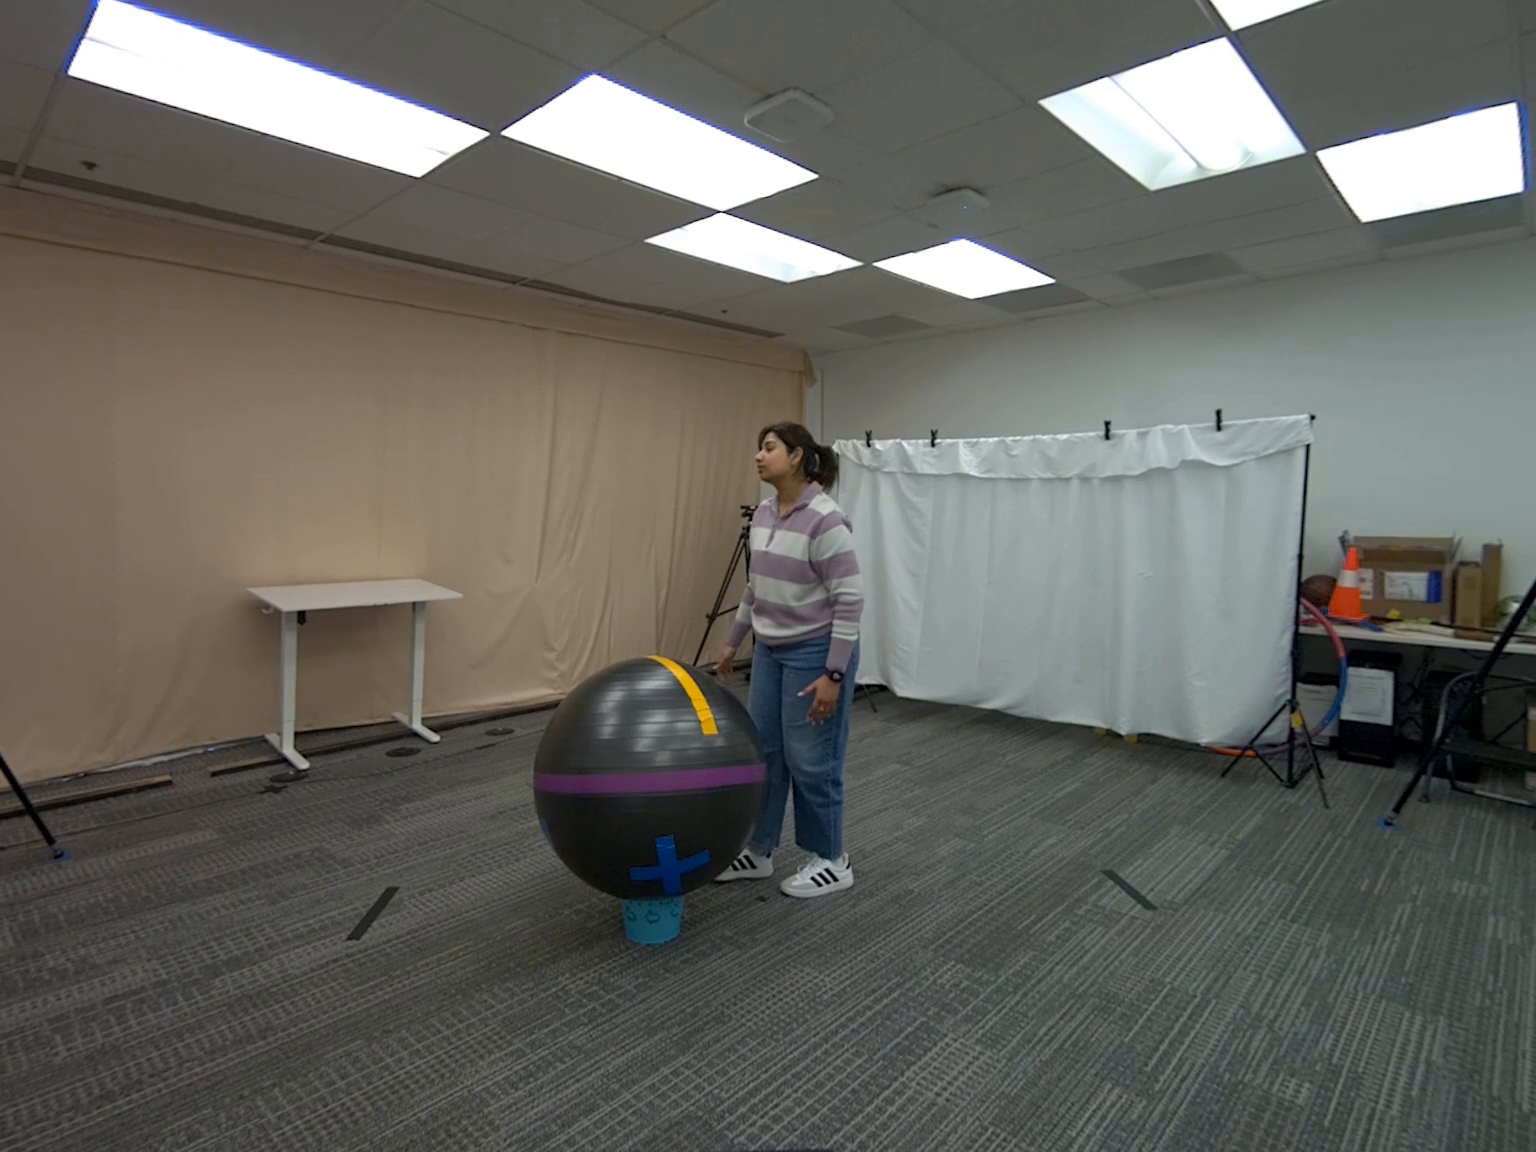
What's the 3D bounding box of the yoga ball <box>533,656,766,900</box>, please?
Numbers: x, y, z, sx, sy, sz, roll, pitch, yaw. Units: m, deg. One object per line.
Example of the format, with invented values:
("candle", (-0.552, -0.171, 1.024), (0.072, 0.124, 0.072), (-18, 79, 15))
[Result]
("yoga ball", (-0.409, 0.657, 2.736), (0.757, 0.756, 0.761), (0, 4, -2))
